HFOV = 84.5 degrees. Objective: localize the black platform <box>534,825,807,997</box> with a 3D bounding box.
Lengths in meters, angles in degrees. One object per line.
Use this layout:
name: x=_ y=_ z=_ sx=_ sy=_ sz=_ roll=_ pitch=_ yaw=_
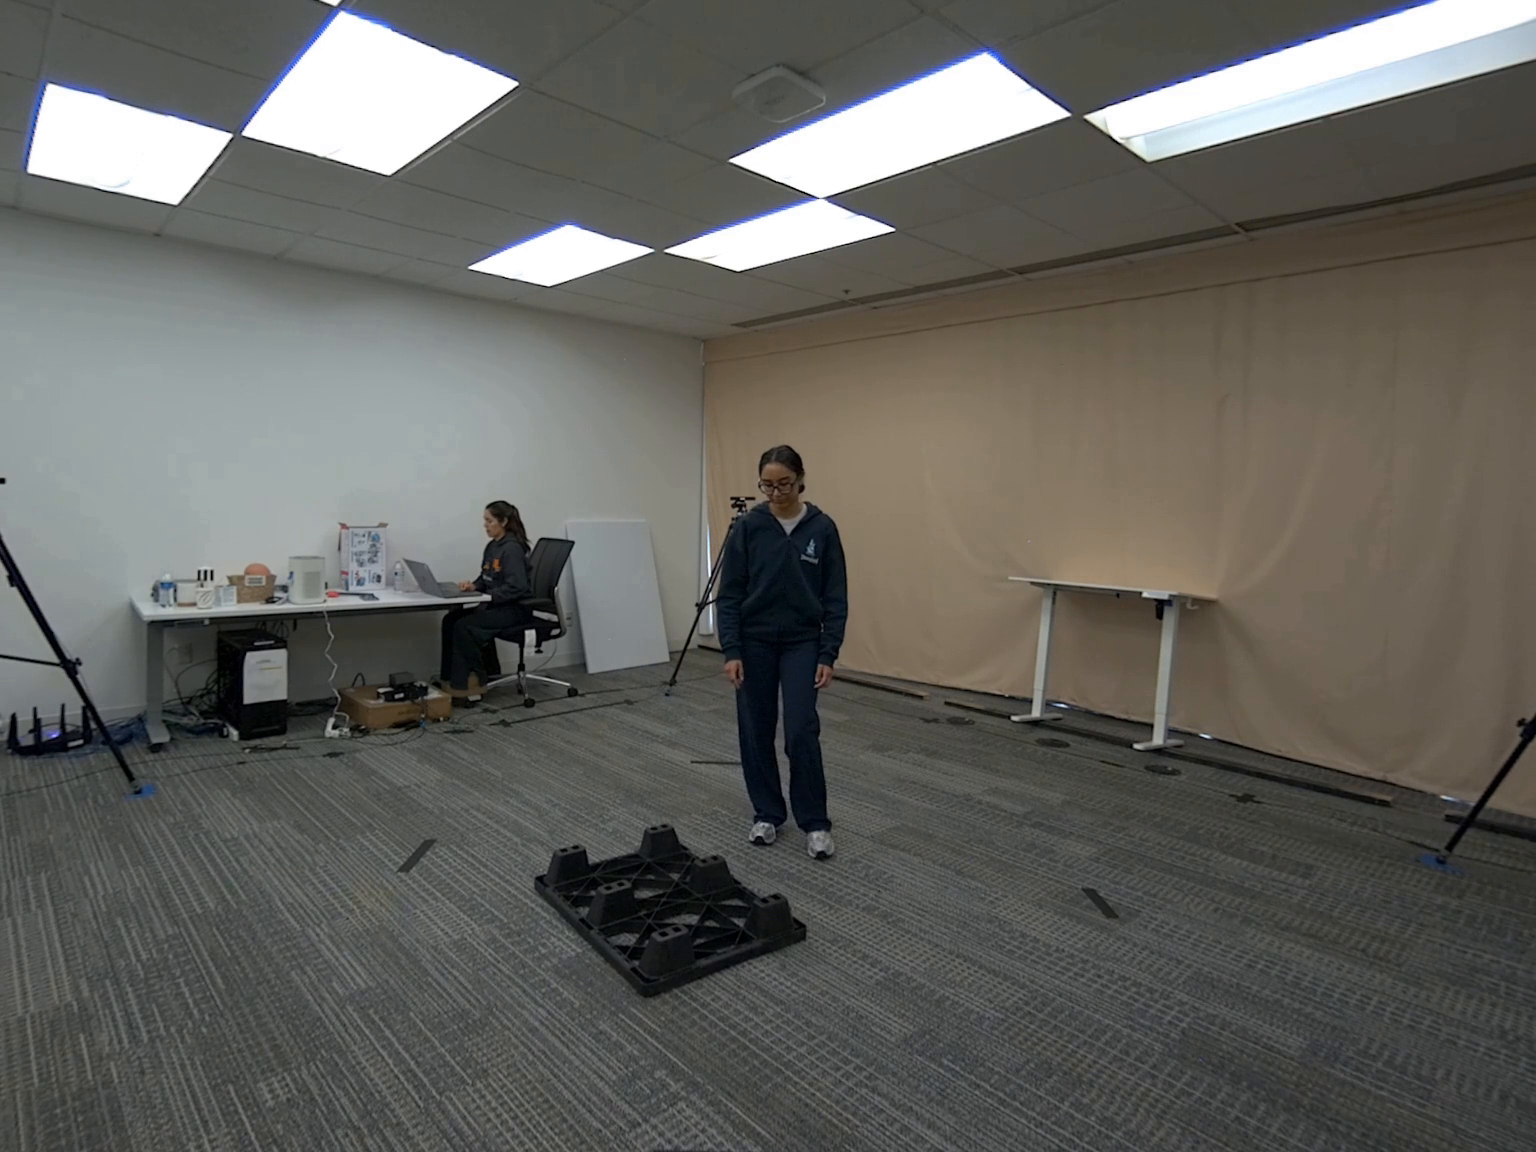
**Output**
black platform: x=-0.344 y=1.056 z=2.820 sx=0.592 sy=0.143 sz=0.826 roll=-4 pitch=7 yaw=-38
